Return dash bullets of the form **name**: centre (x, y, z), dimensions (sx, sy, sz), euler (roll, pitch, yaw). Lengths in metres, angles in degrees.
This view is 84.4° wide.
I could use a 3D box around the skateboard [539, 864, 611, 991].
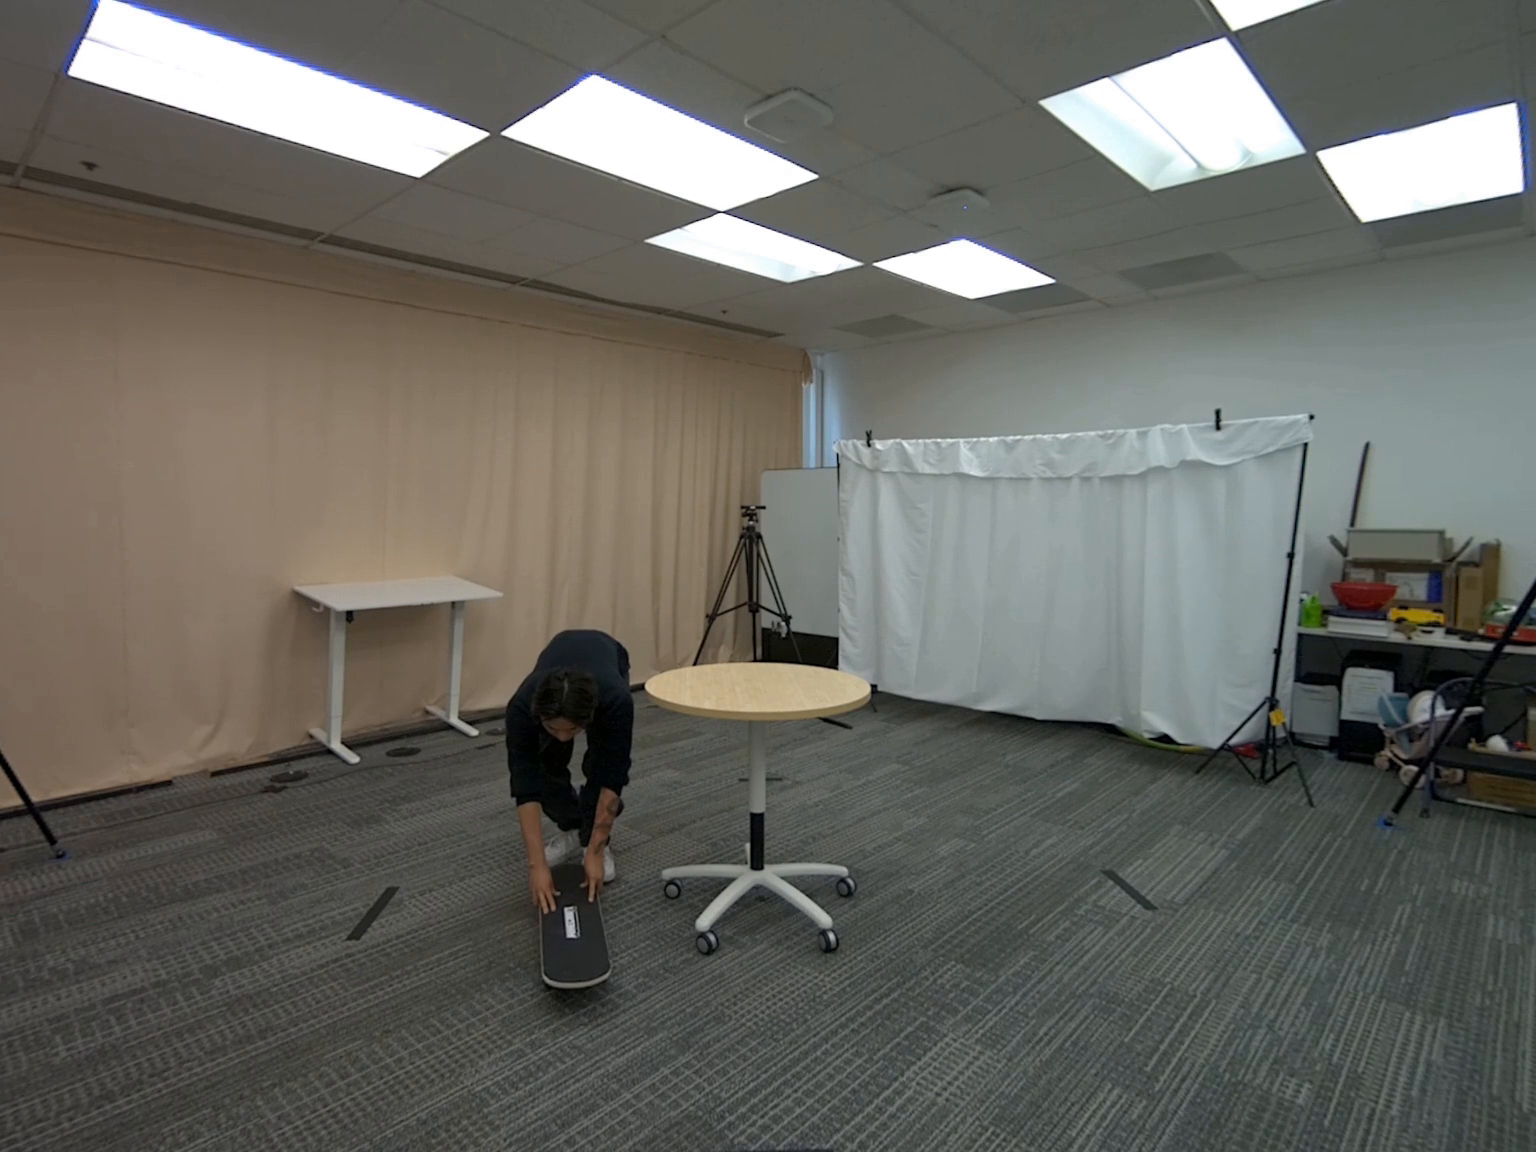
- **skateboard**: centre (-0.613, 1.116, 2.656), dimensions (0.190, 0.110, 0.799), euler (-1, 5, -15)
